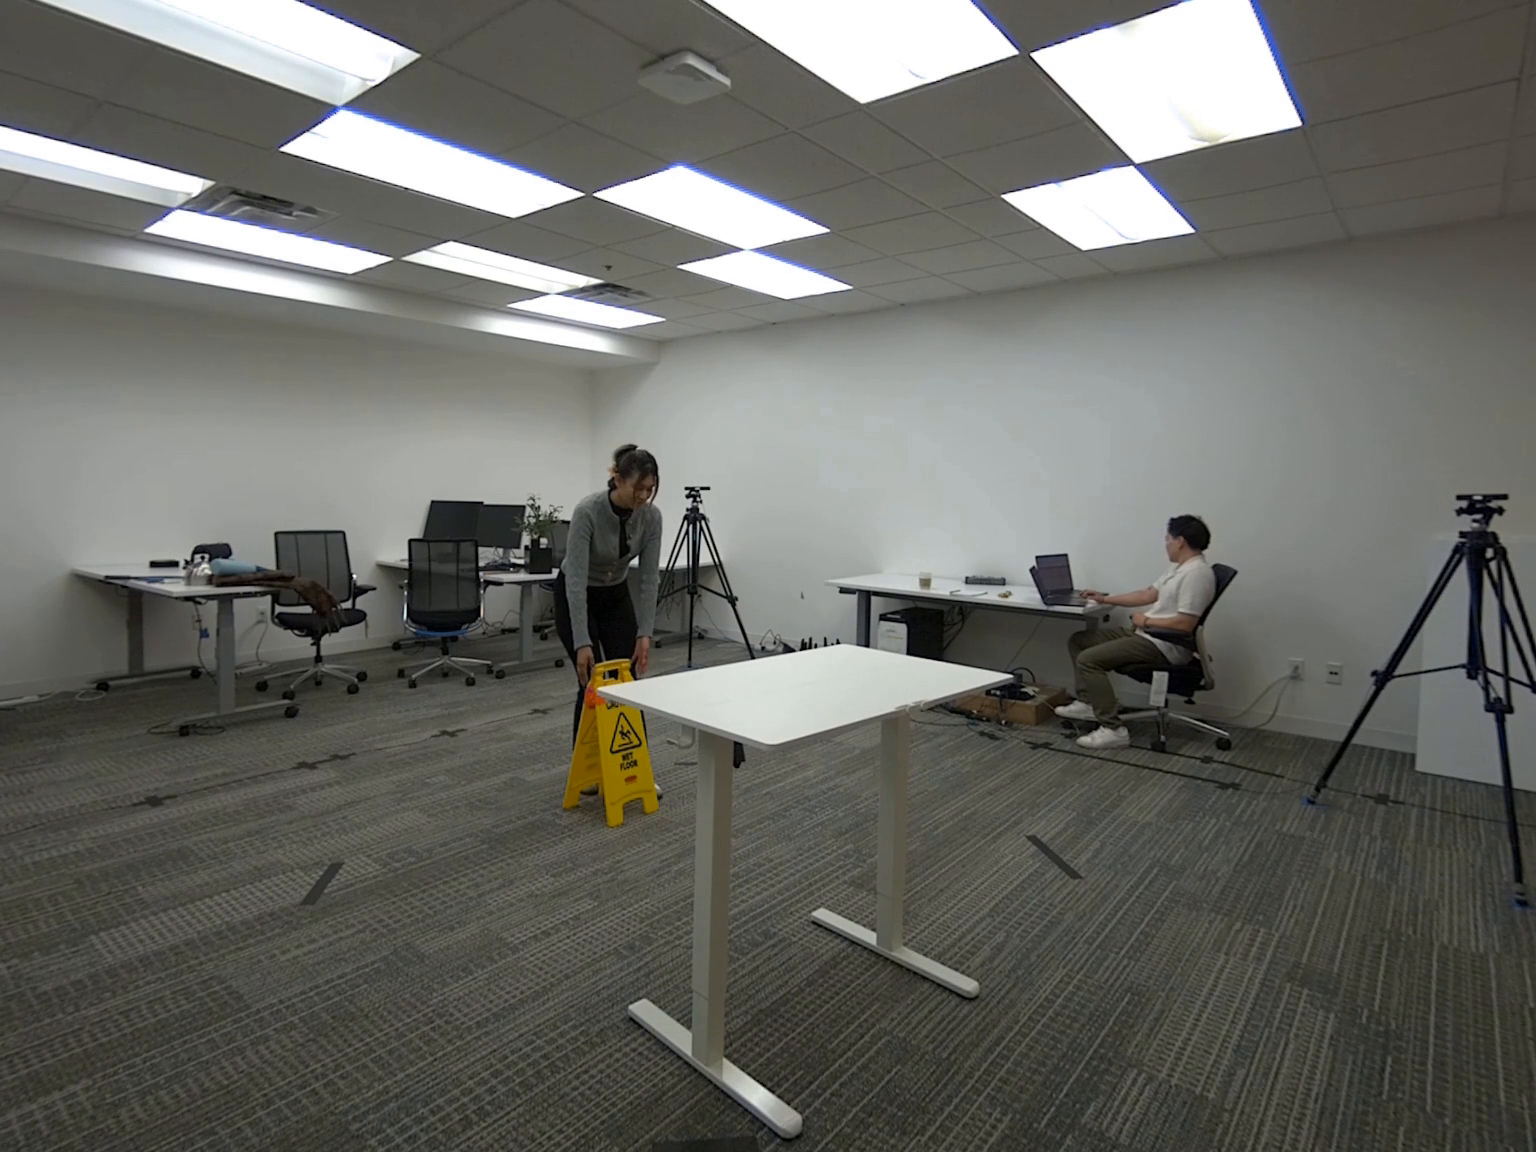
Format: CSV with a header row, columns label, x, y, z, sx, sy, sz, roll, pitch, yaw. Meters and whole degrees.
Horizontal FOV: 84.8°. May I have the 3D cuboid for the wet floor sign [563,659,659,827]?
label,x,y,z,sx,sy,sz,roll,pitch,yaw
wet floor sign,-0.684,0.685,3.656,0.299,0.644,0.274,2,3,39
